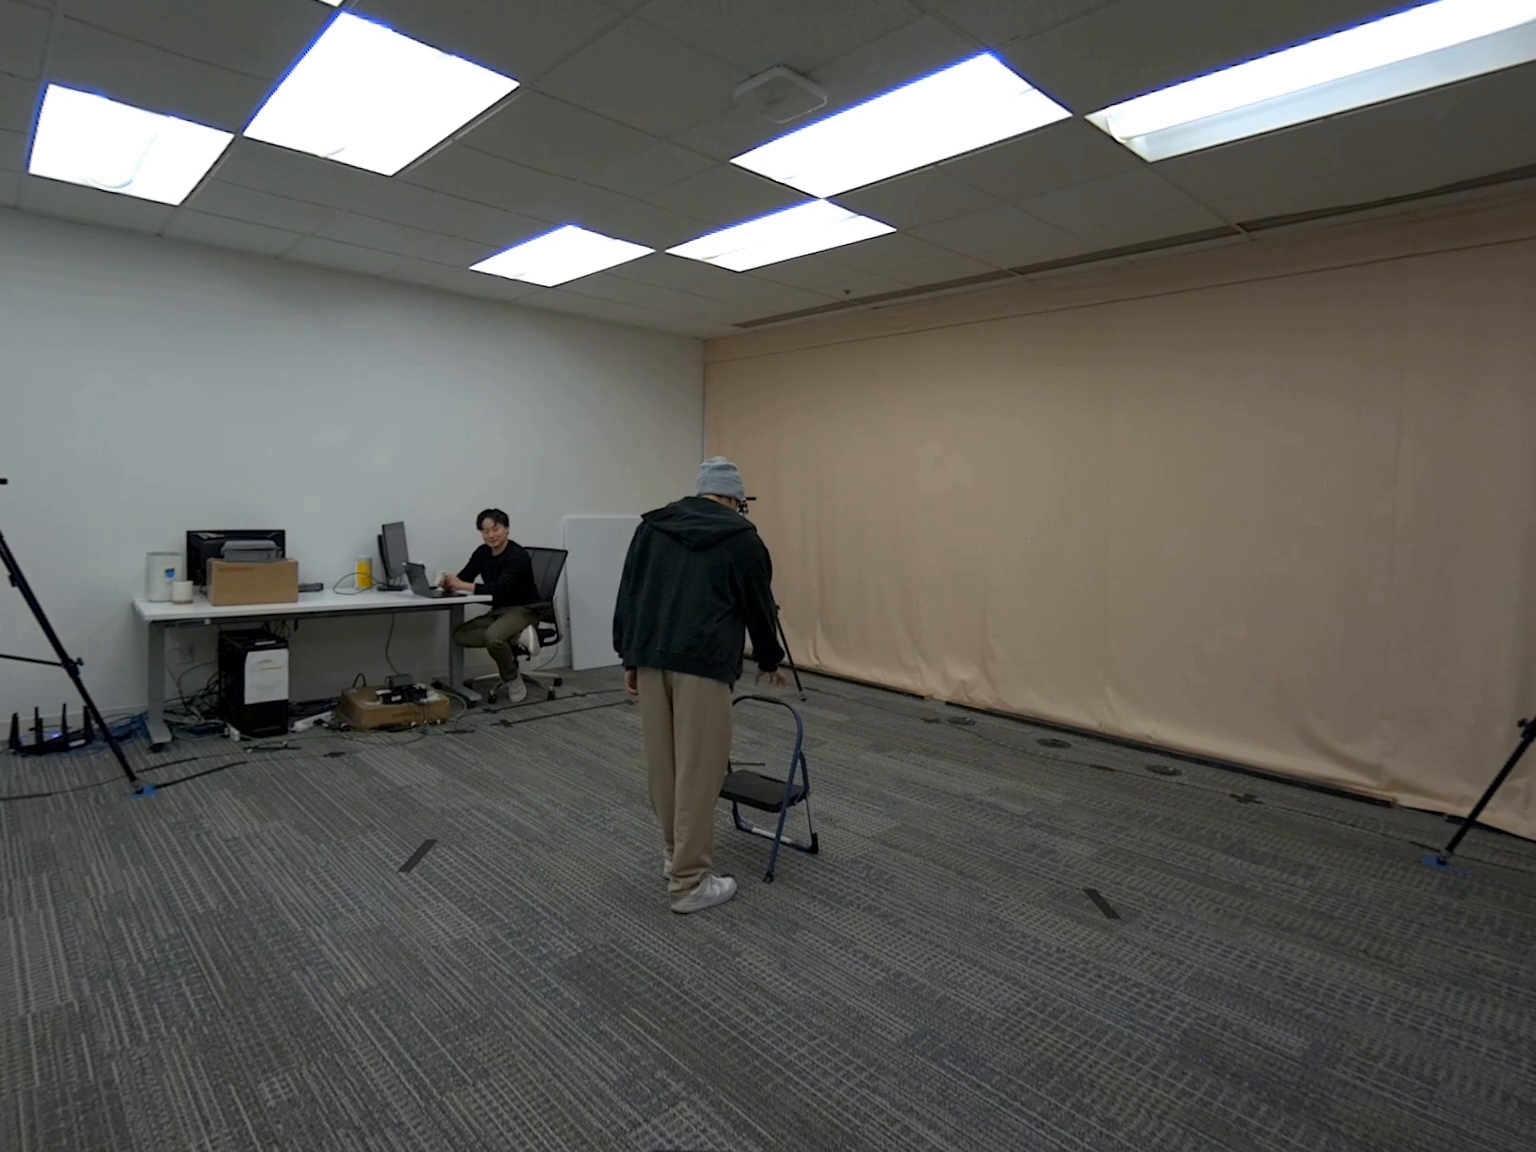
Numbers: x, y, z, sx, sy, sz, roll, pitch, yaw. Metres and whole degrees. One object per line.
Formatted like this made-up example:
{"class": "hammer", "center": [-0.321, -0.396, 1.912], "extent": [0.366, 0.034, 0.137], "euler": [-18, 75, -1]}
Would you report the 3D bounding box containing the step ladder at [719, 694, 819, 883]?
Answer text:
{"class": "step ladder", "center": [-0.060, 0.788, 3.305], "extent": [0.441, 0.604, 0.341], "euler": [4, 4, 38]}
